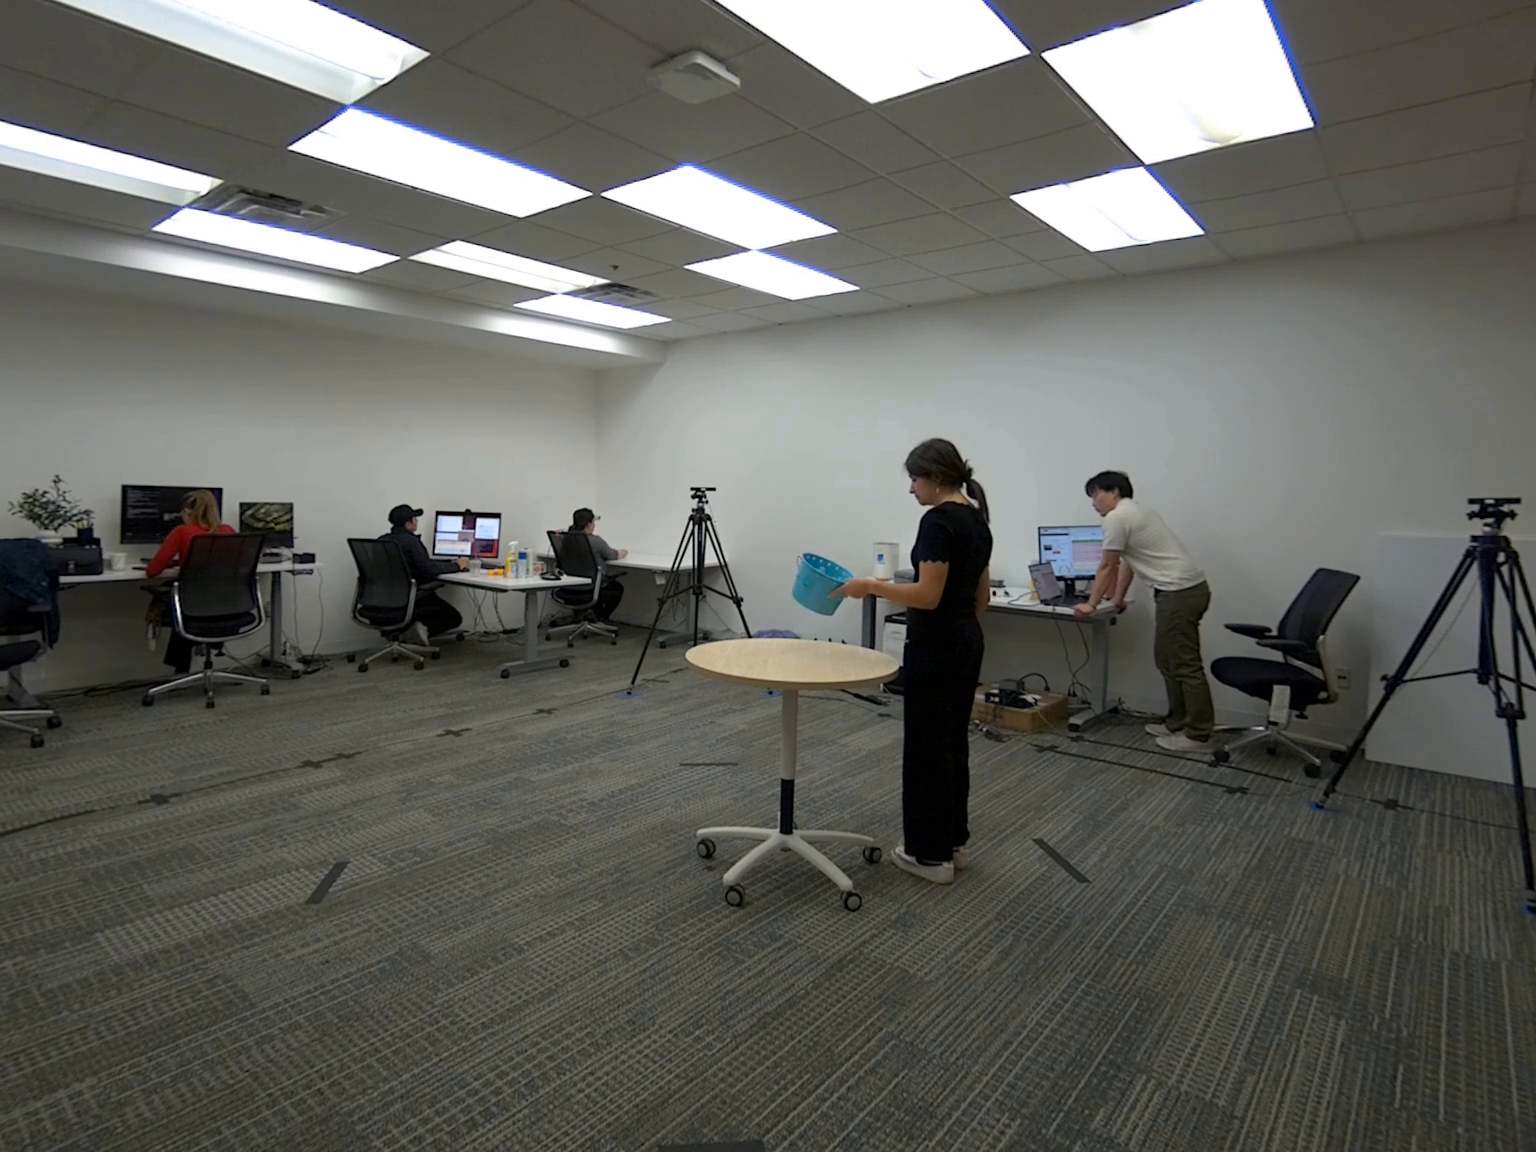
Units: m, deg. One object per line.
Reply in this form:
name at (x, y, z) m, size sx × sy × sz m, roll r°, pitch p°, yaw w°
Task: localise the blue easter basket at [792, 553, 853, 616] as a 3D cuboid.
blue easter basket at (0.204, 0.038, 3.194) m, size 0.241 × 0.155 × 0.248 m, roll 23°, pitch 15°, yaw -9°
